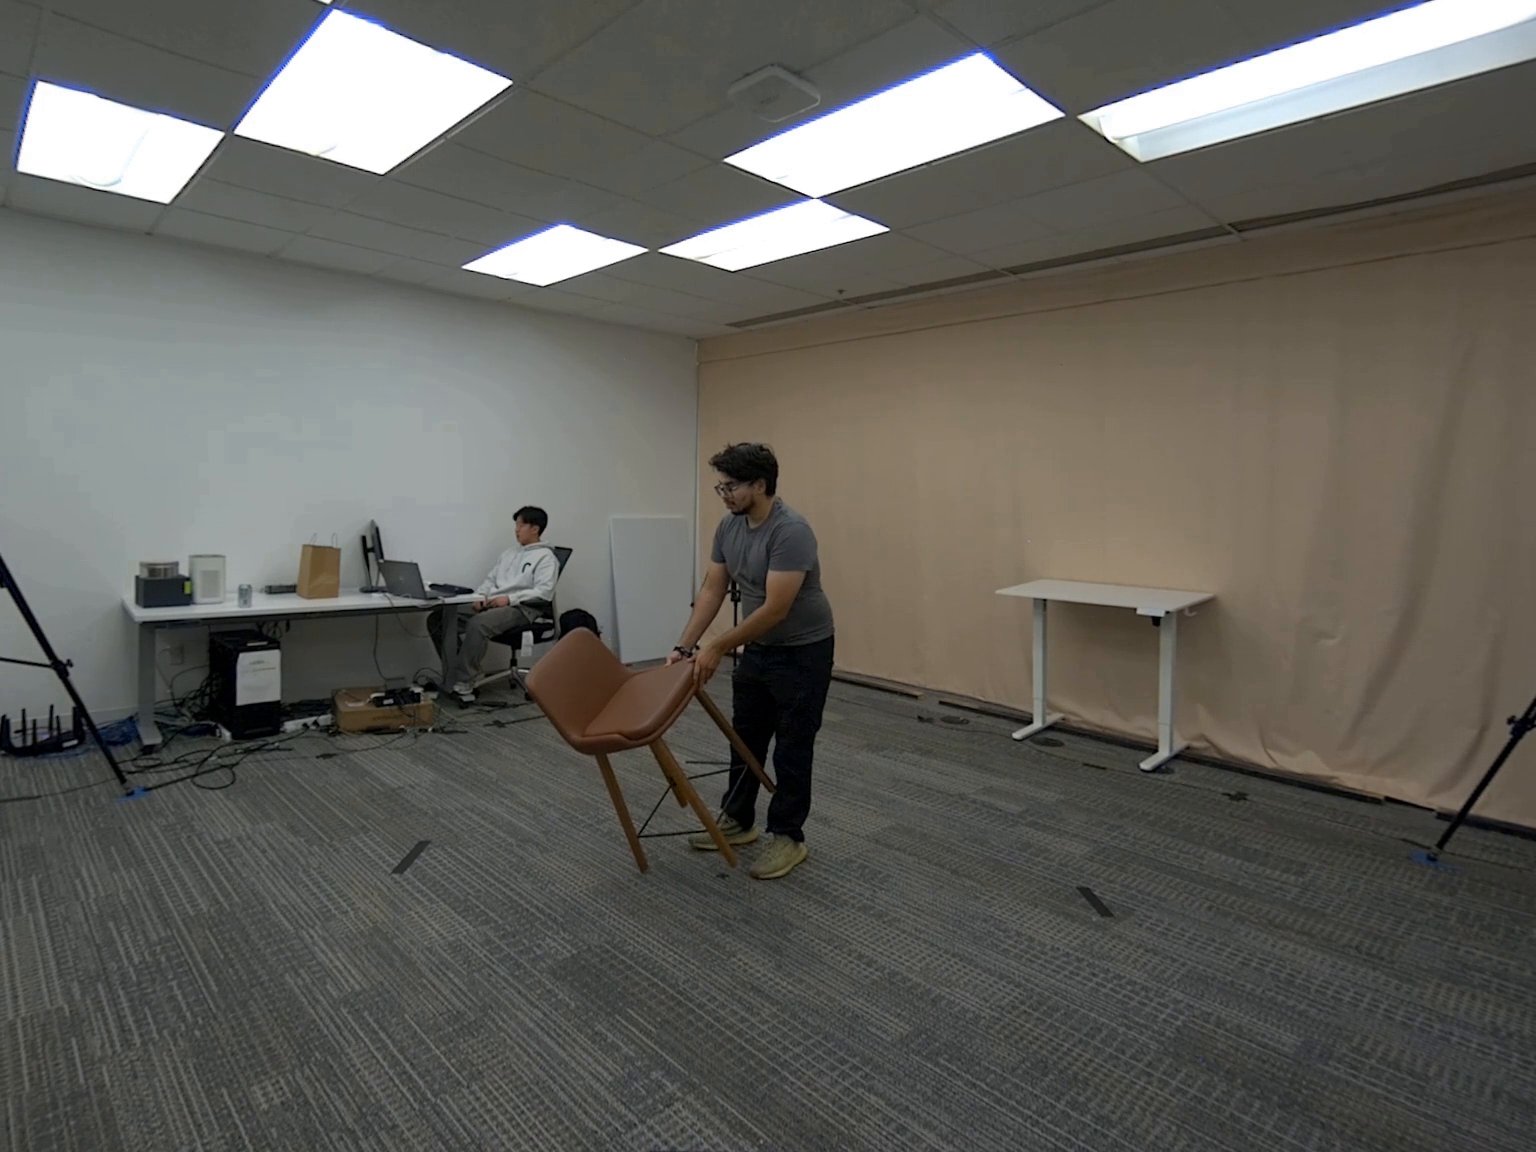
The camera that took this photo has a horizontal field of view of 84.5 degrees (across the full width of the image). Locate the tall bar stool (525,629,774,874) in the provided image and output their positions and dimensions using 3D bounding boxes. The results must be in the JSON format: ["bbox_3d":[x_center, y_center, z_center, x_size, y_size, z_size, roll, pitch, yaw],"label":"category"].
[{"bbox_3d":[-0.426,0.595,3.048,0.474,0.877,0.457,-19,17,33],"label":"tall bar stool"}]
